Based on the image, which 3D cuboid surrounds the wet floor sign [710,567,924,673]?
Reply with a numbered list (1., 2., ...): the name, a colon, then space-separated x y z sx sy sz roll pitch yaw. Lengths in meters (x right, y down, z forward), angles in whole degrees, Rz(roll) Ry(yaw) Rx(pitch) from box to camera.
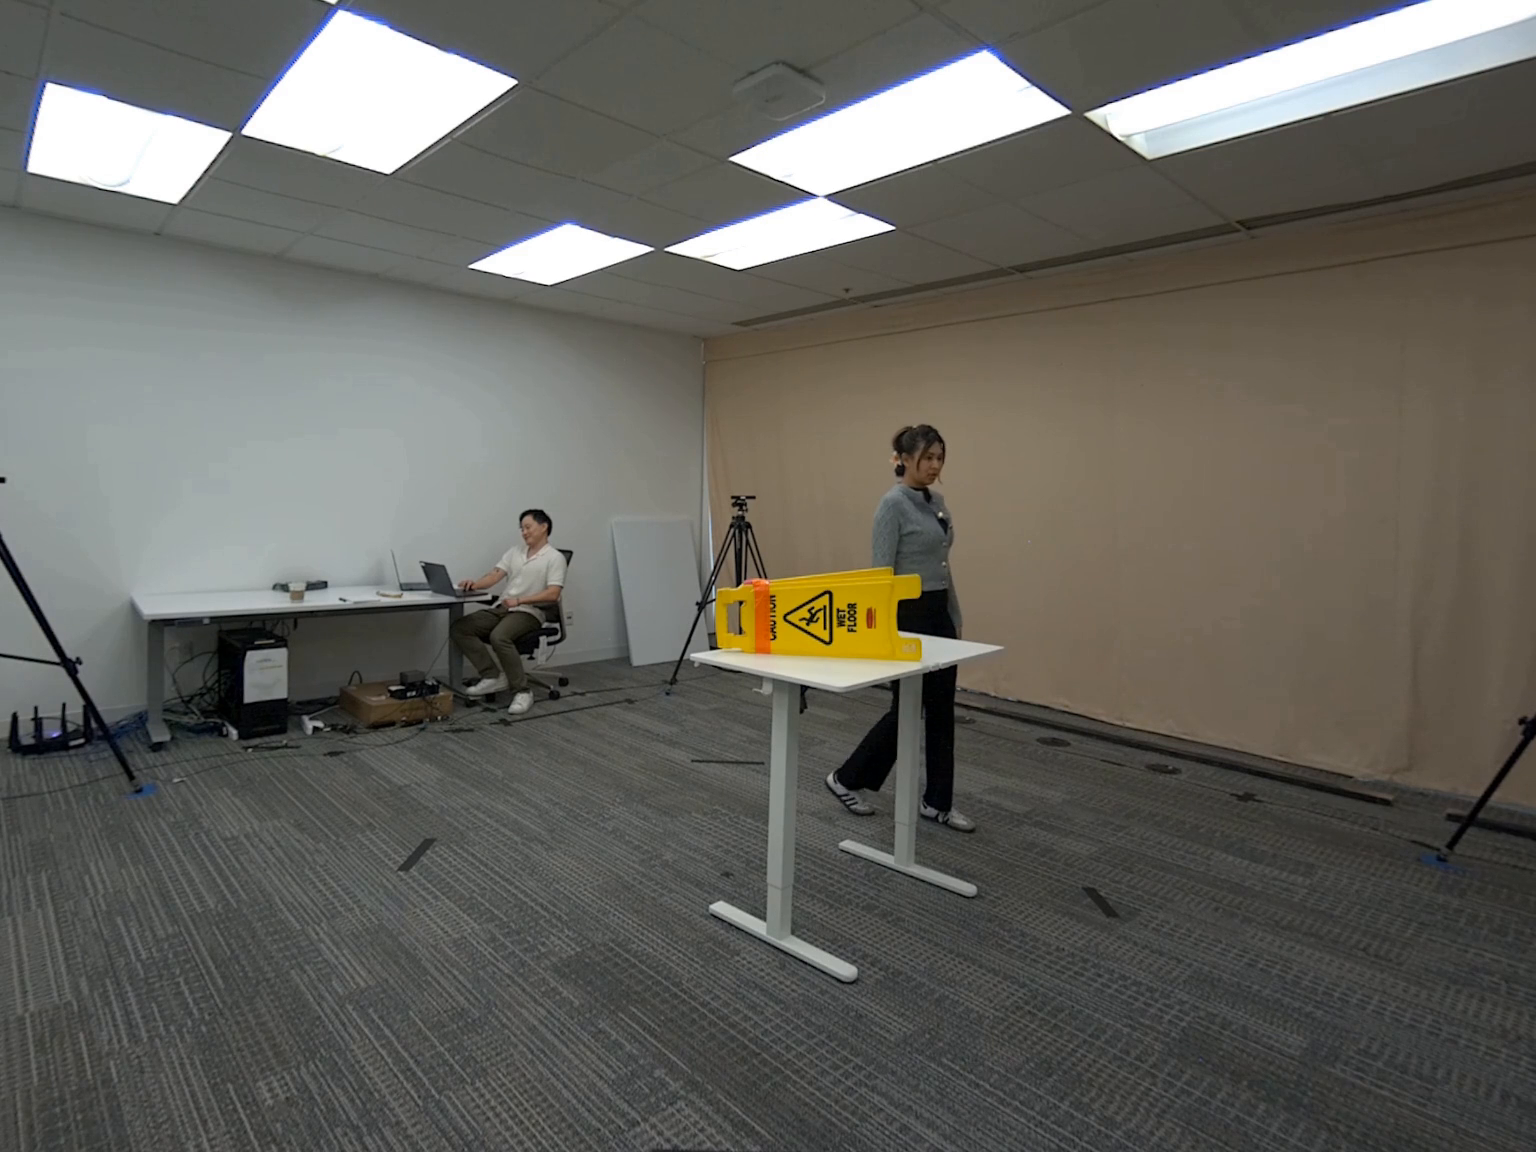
1. wet floor sign: 0.147 0.134 2.795 0.642 0.281 0.292 -2 4 -7
